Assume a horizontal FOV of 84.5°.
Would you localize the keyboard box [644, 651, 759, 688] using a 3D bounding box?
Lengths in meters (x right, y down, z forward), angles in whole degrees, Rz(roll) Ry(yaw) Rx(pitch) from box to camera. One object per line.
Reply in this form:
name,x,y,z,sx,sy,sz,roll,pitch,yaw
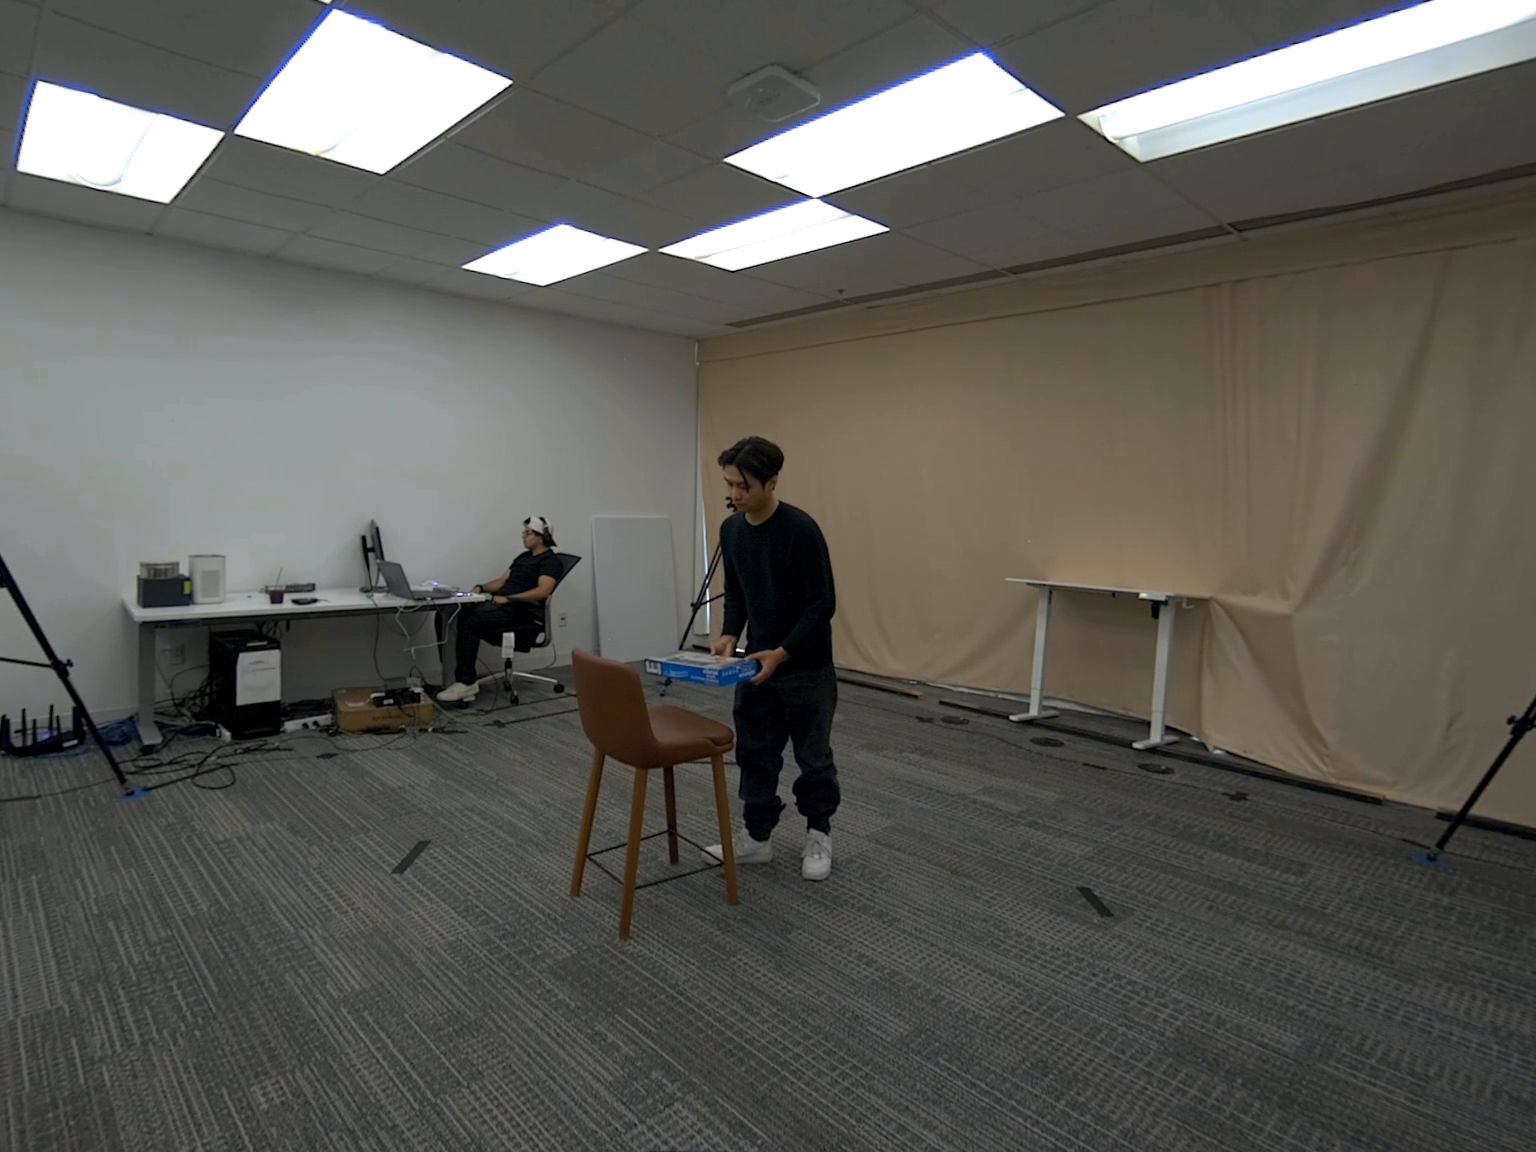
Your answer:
keyboard box,-0.260,0.328,3.043,0.172,0.059,0.447,-8,6,-41
